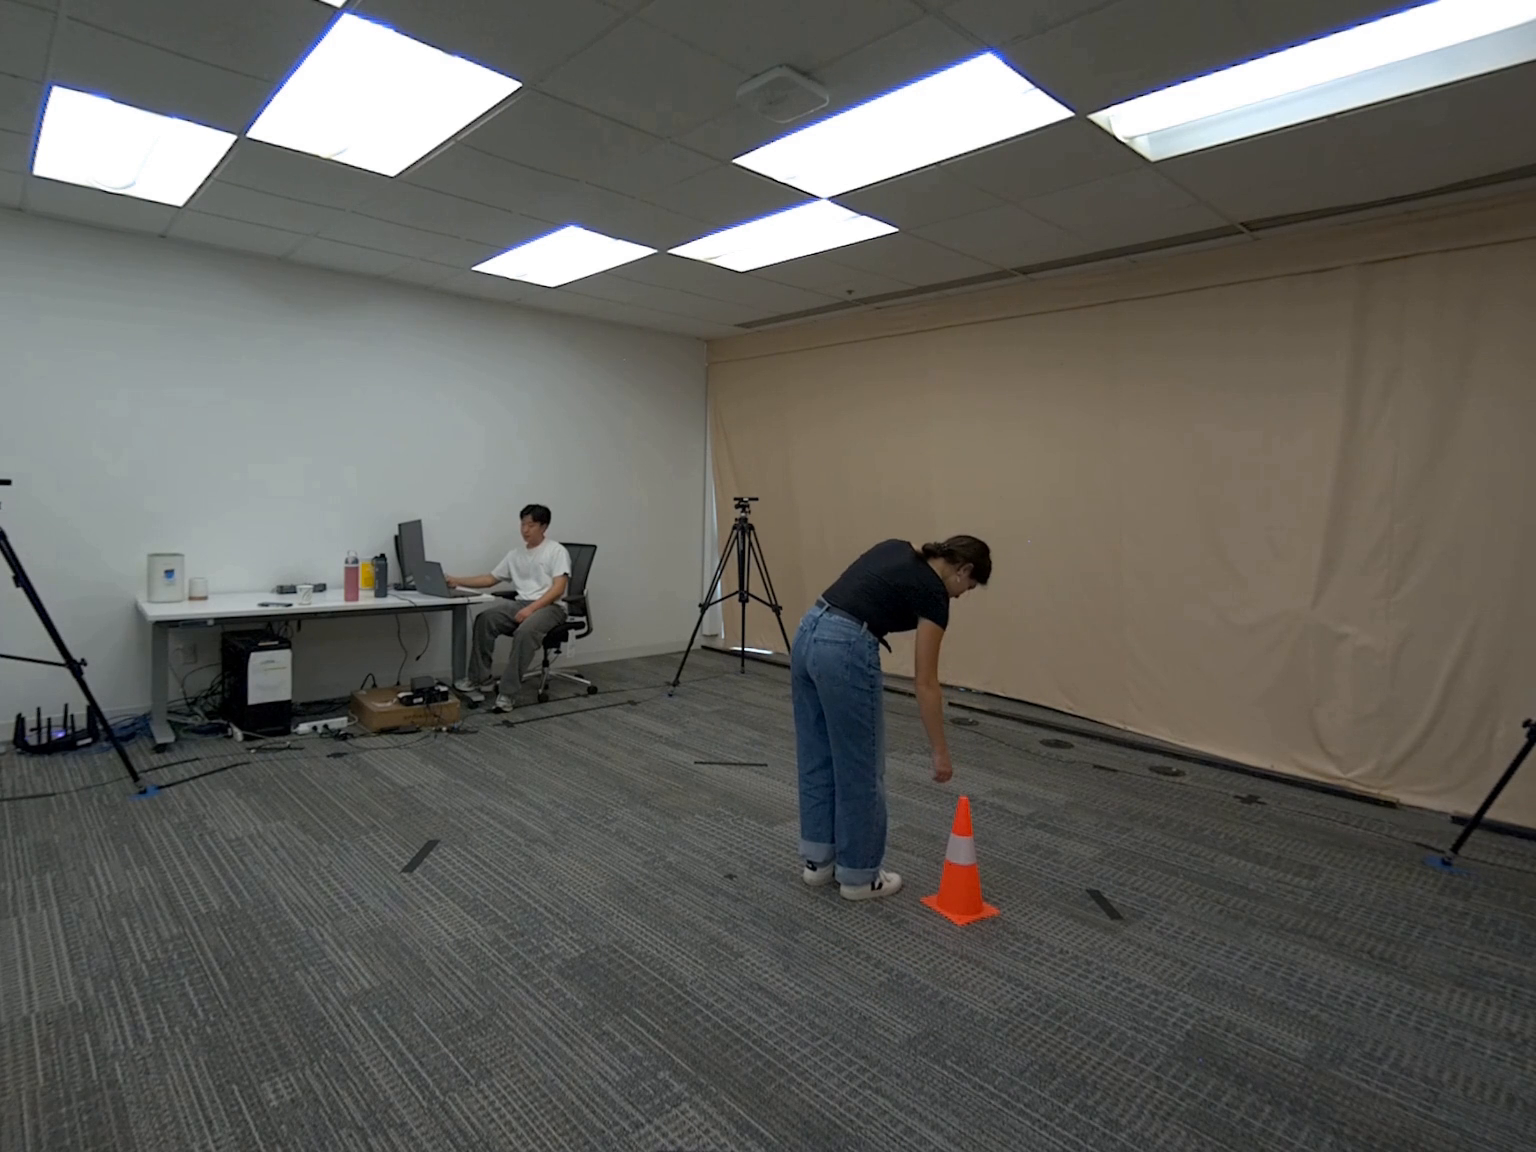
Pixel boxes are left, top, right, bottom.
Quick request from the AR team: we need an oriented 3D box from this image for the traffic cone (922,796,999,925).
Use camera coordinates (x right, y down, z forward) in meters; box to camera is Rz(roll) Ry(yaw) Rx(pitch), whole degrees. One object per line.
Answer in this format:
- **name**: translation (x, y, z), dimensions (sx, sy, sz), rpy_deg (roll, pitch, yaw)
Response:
- **traffic cone**: translation (0.661, 0.961, 2.899), dimensions (0.199, 0.382, 0.209), rpy_deg (-1, 5, -27)
